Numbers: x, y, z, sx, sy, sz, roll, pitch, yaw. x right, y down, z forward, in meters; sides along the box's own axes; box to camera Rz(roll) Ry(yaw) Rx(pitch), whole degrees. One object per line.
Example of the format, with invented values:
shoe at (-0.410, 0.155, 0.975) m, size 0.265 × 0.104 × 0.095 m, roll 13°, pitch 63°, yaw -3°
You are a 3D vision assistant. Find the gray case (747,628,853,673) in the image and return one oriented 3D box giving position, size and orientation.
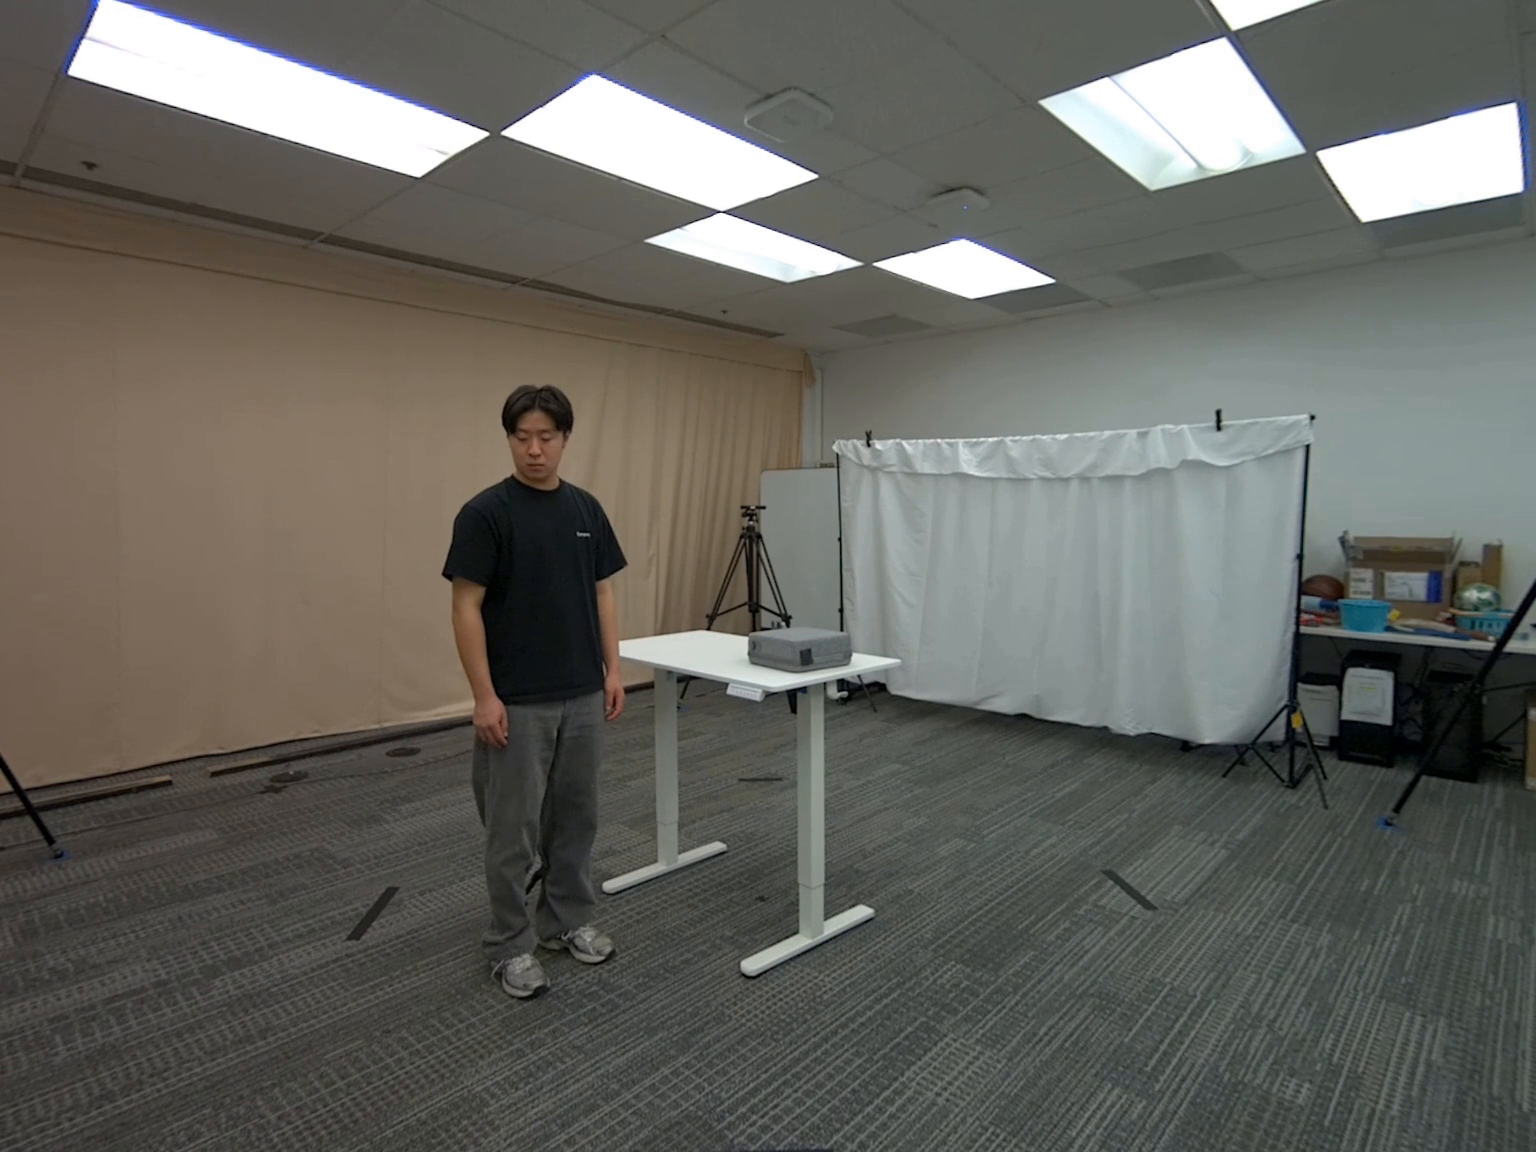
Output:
gray case at (0.094, 0.229, 2.701) m, size 0.255 × 0.103 × 0.296 m, roll -4°, pitch 5°, yaw -38°
